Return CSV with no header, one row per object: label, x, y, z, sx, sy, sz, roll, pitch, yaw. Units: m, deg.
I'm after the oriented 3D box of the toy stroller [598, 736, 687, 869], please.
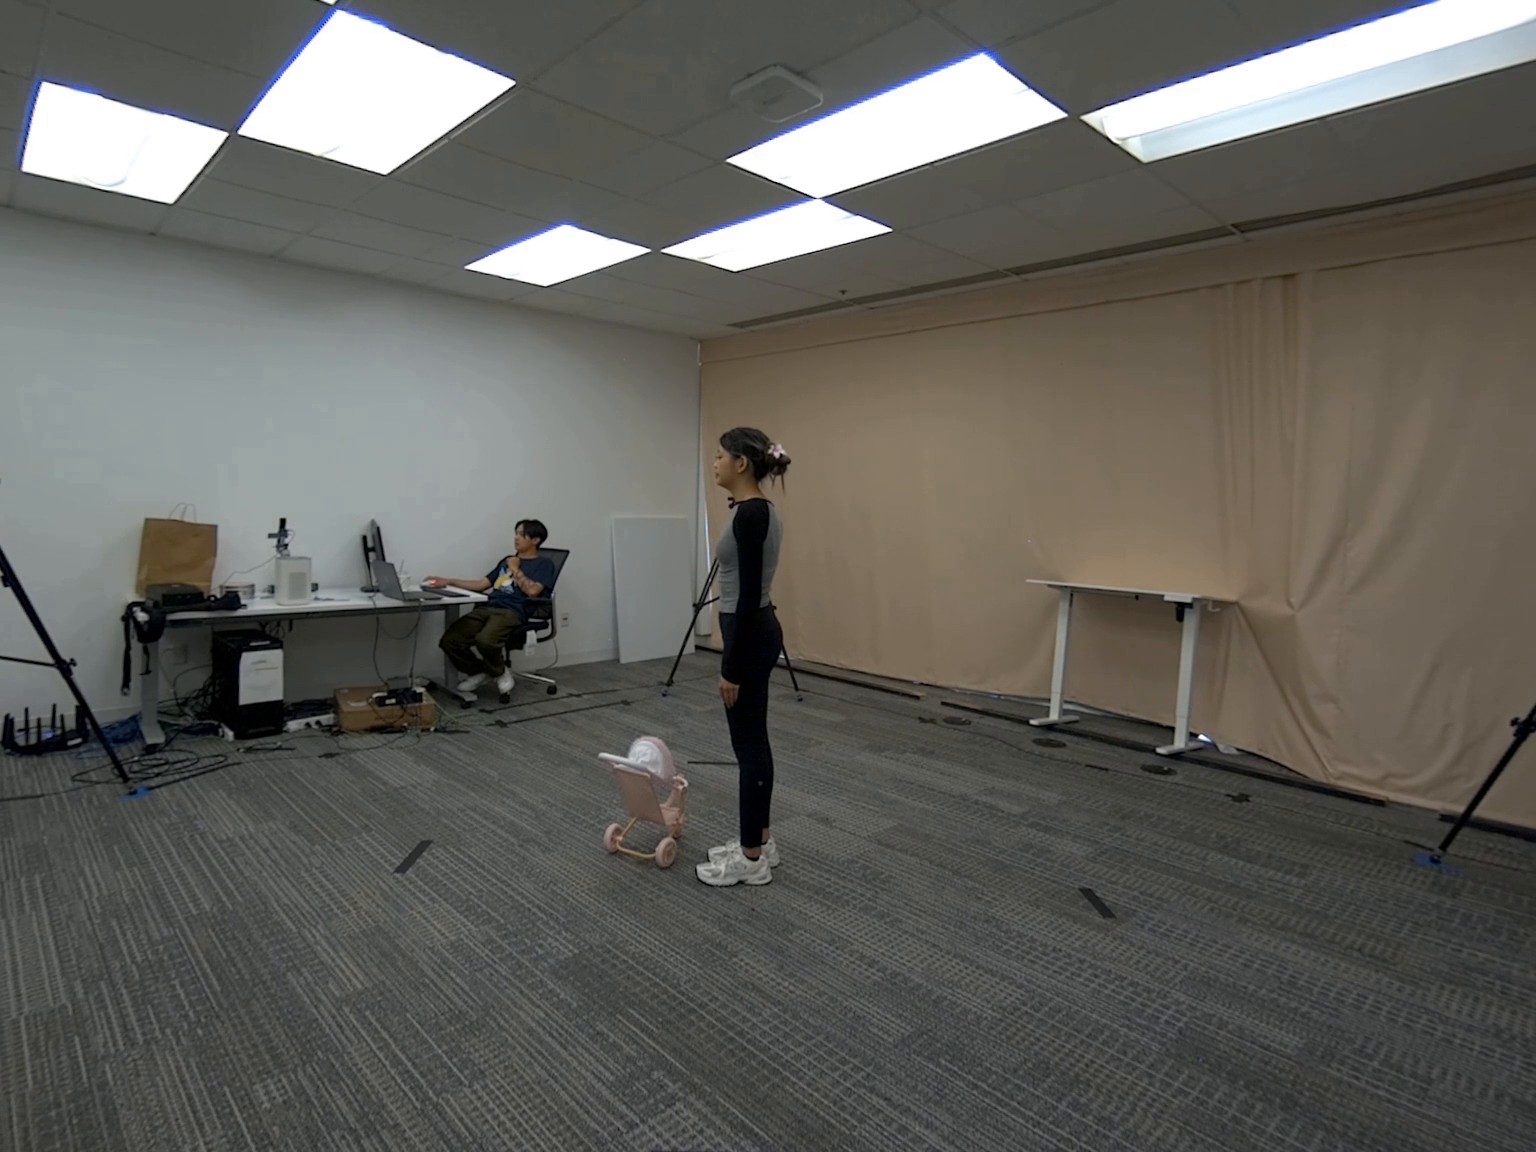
toy stroller,-0.462,0.860,3.276,0.288,0.528,0.338,5,19,32
